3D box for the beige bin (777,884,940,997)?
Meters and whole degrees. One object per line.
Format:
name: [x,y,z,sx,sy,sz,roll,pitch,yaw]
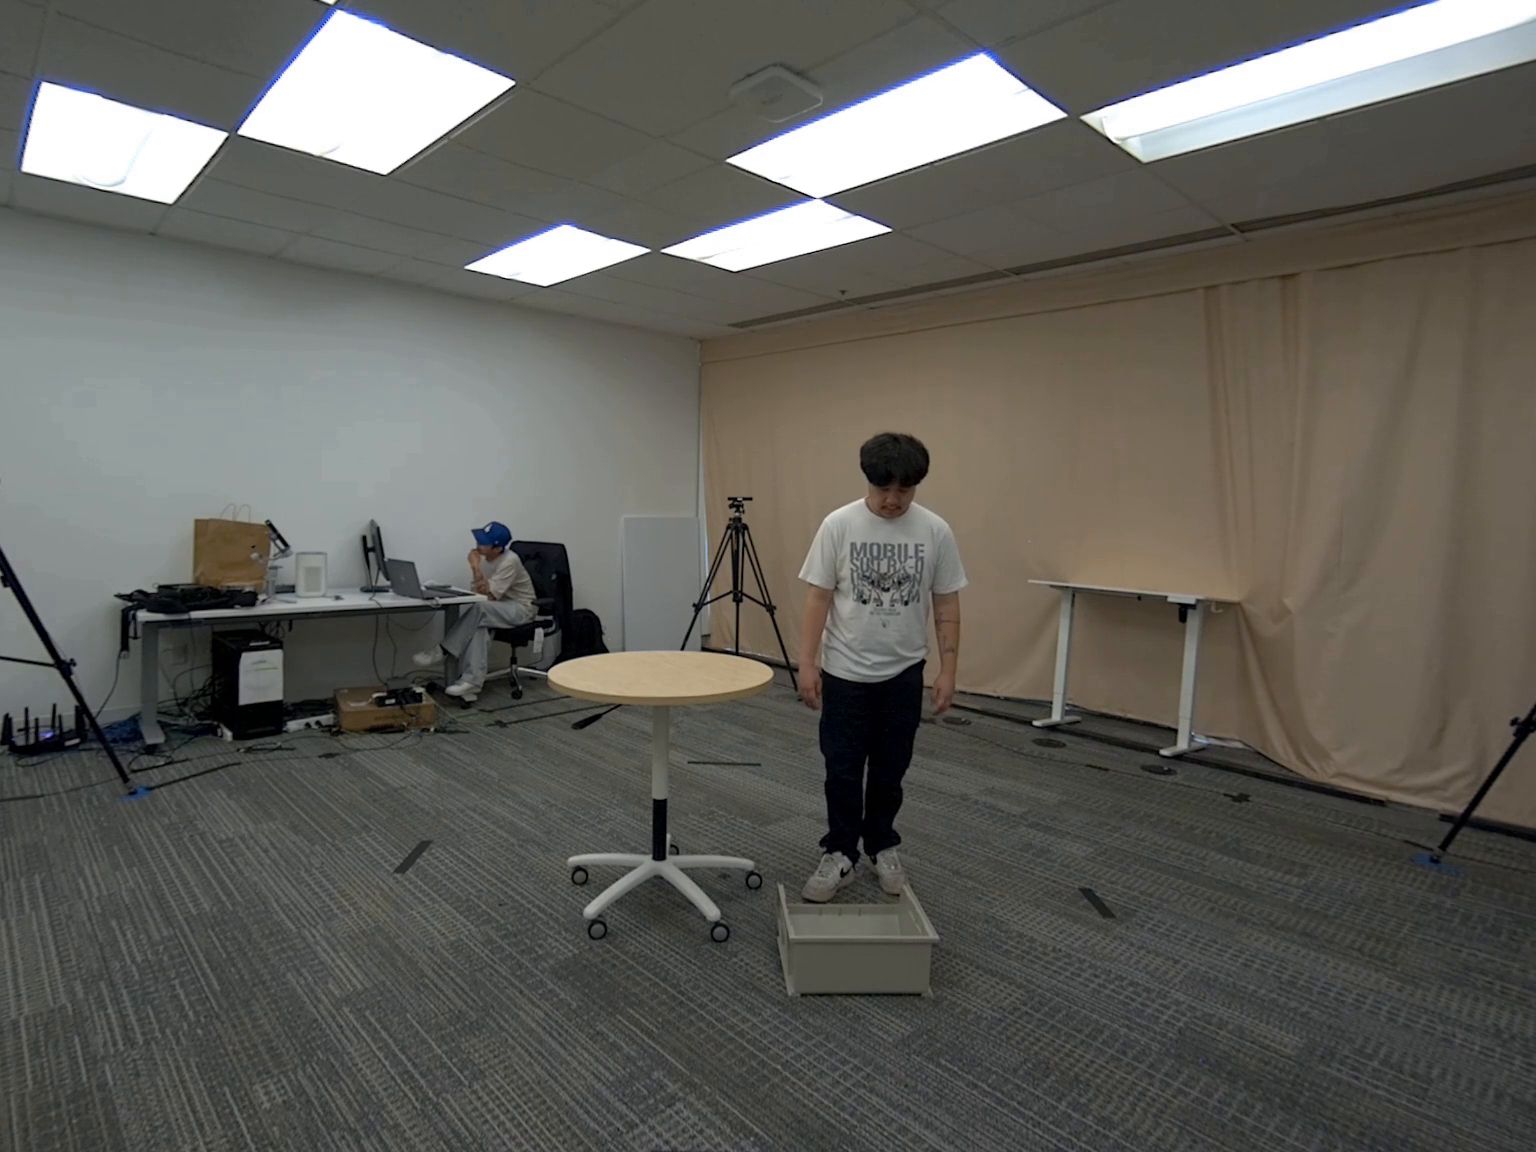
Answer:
beige bin: [0.243,1.084,2.532,0.421,0.188,0.380,2,5,-5]
